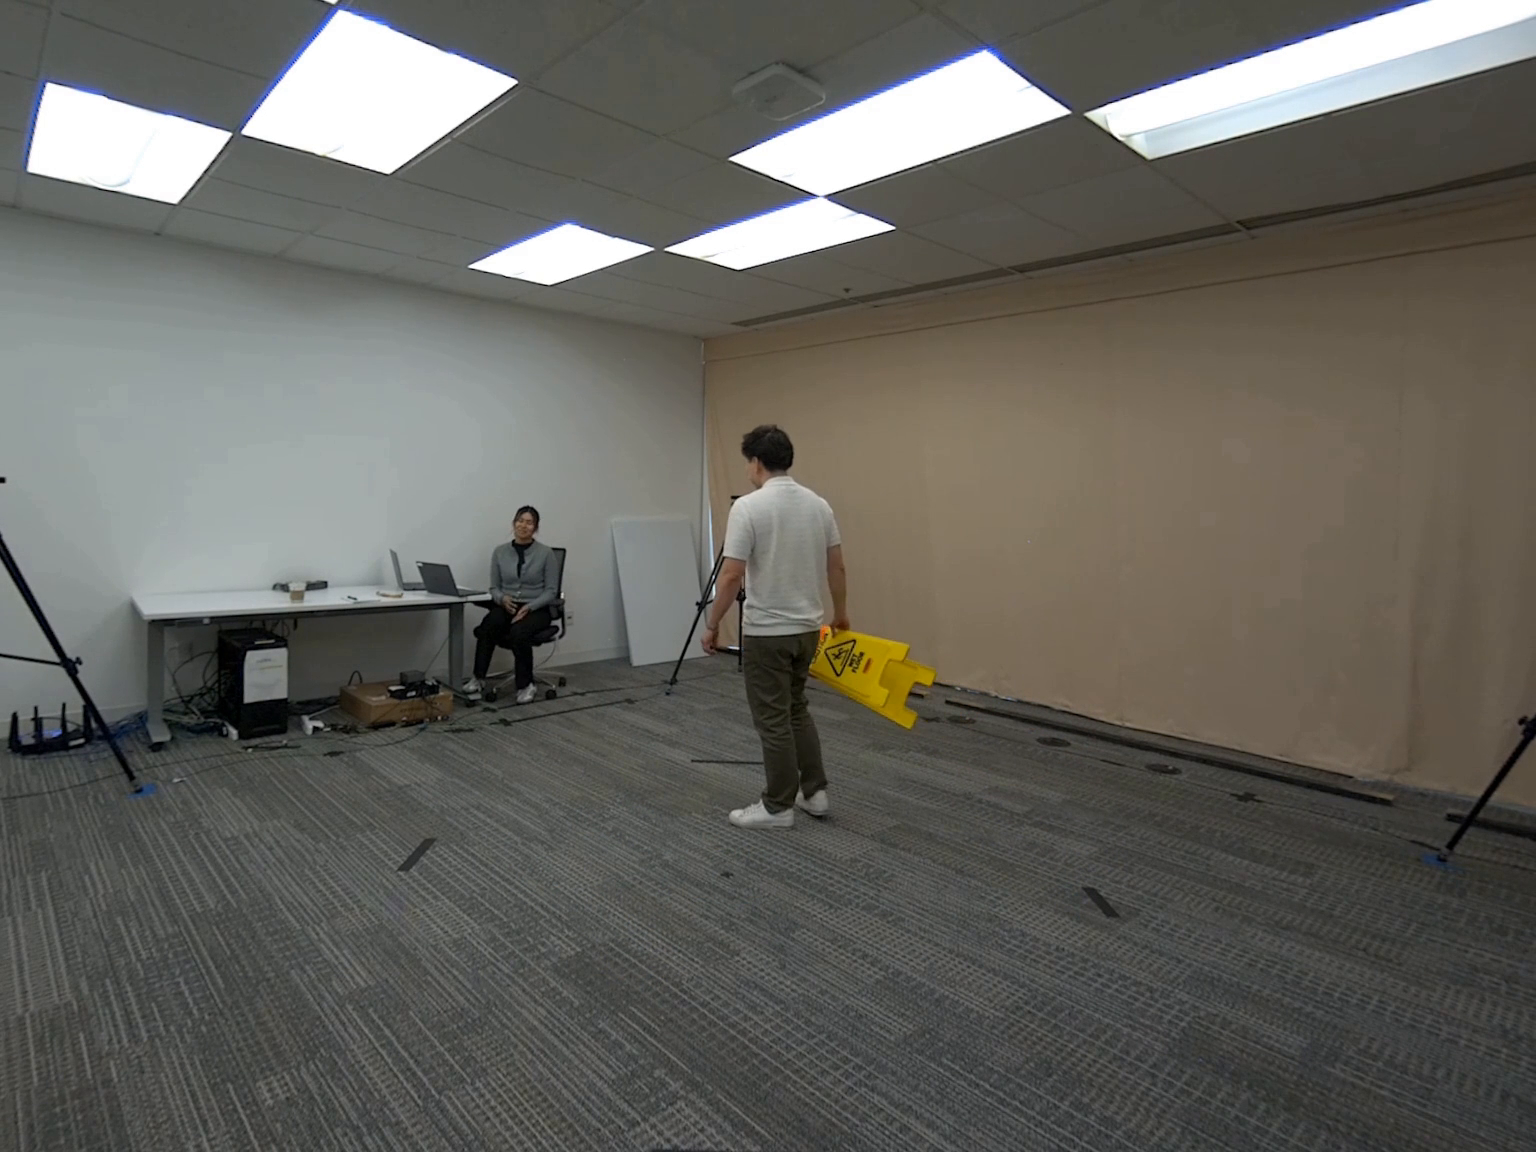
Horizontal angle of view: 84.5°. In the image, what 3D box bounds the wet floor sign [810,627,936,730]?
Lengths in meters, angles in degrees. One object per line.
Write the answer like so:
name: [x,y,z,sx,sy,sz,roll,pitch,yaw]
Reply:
wet floor sign: [0.348,0.387,3.721,0.665,0.283,0.280,20,-12,42]
